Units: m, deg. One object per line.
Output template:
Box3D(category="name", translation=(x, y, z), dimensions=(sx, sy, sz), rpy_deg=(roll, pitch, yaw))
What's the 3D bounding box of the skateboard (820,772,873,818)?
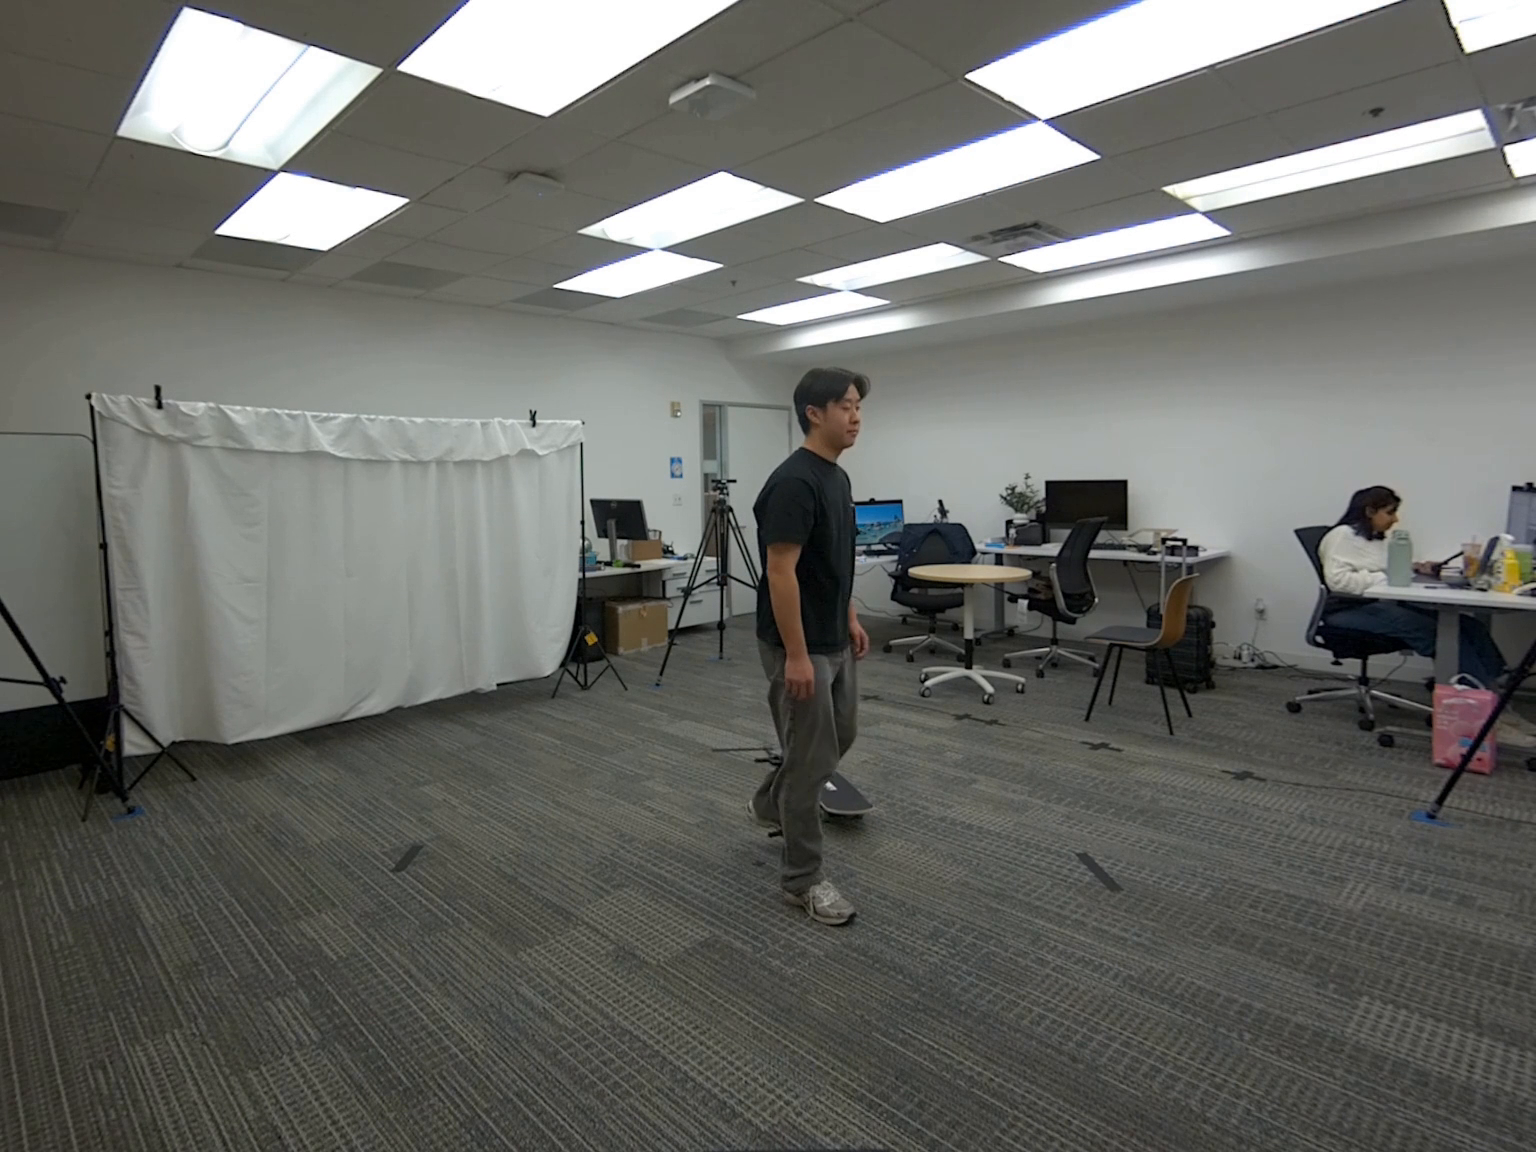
Box3D(category="skateboard", translation=(0.256, 0.923, 3.693), dimensions=(0.191, 0.110, 0.799), rpy_deg=(-2, 6, -15))
